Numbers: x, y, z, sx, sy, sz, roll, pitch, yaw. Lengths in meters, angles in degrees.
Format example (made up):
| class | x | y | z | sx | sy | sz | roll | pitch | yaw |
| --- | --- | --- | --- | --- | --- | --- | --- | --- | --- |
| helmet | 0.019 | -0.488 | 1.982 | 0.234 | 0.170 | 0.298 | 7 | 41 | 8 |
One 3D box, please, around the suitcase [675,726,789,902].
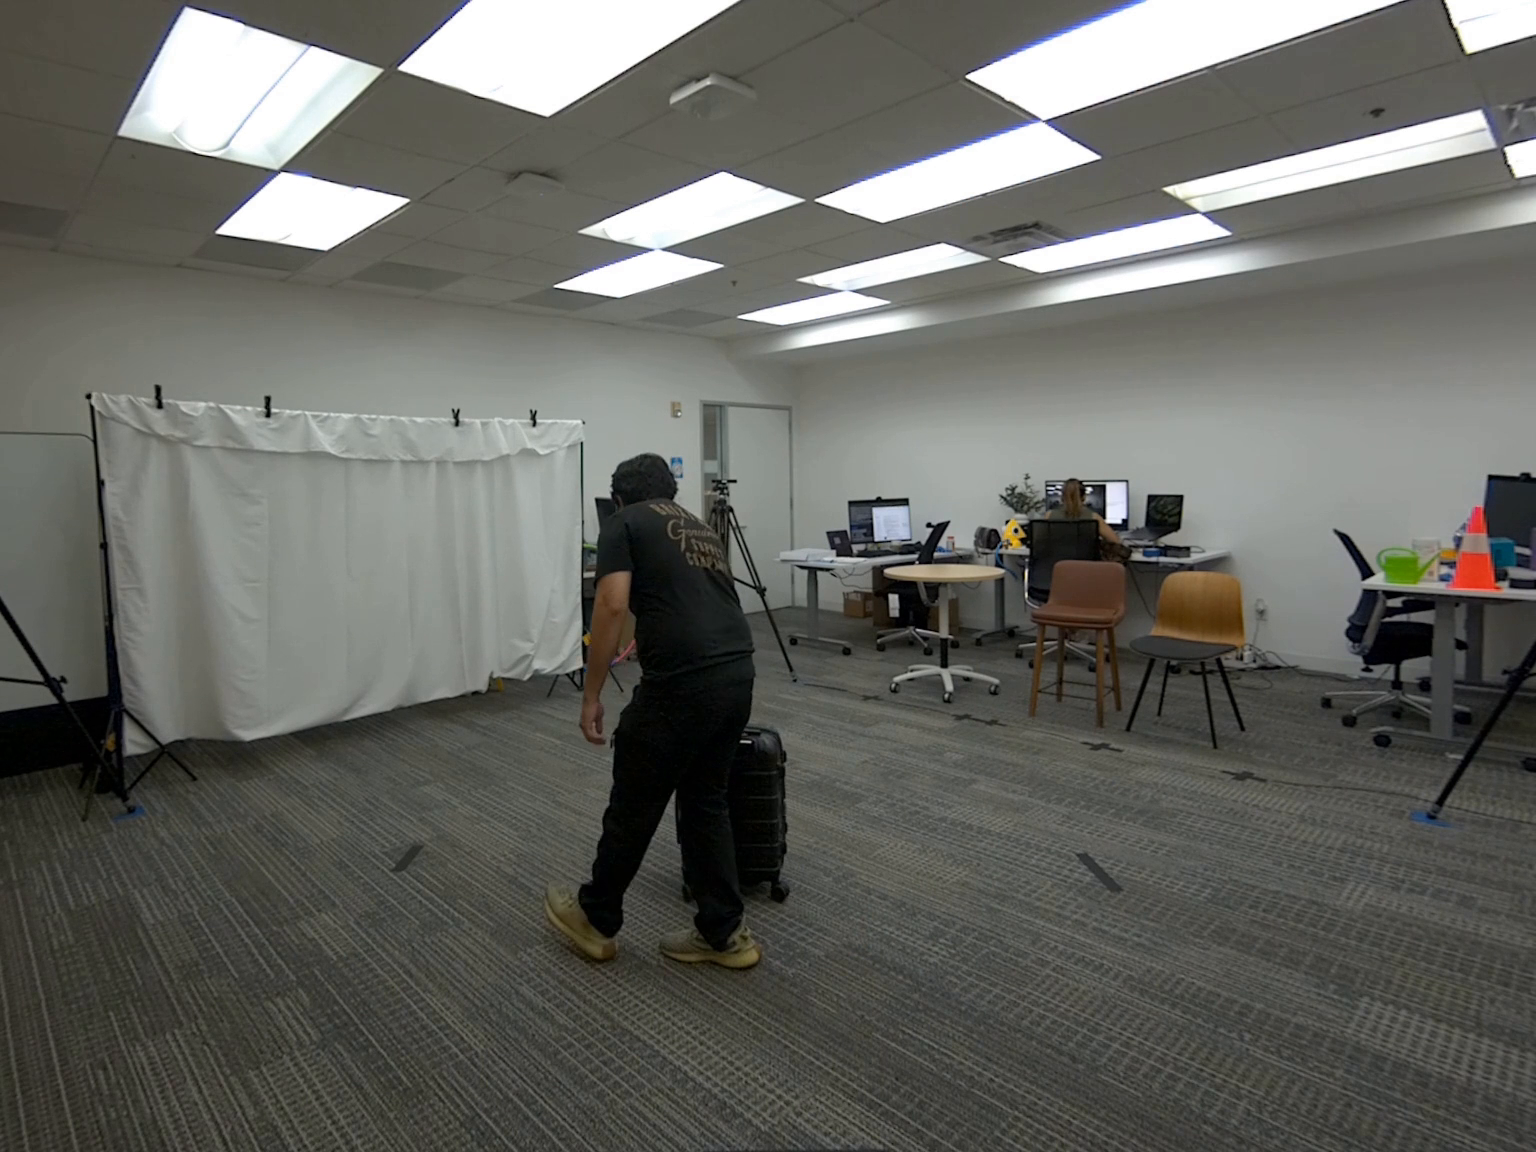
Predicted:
| class | x | y | z | sx | sy | sz | roll | pitch | yaw |
| --- | --- | --- | --- | --- | --- | --- | --- | --- | --- |
| suitcase | -0.118 | 0.794 | 2.950 | 0.377 | 0.549 | 0.247 | -1 | 2 | 4 |
